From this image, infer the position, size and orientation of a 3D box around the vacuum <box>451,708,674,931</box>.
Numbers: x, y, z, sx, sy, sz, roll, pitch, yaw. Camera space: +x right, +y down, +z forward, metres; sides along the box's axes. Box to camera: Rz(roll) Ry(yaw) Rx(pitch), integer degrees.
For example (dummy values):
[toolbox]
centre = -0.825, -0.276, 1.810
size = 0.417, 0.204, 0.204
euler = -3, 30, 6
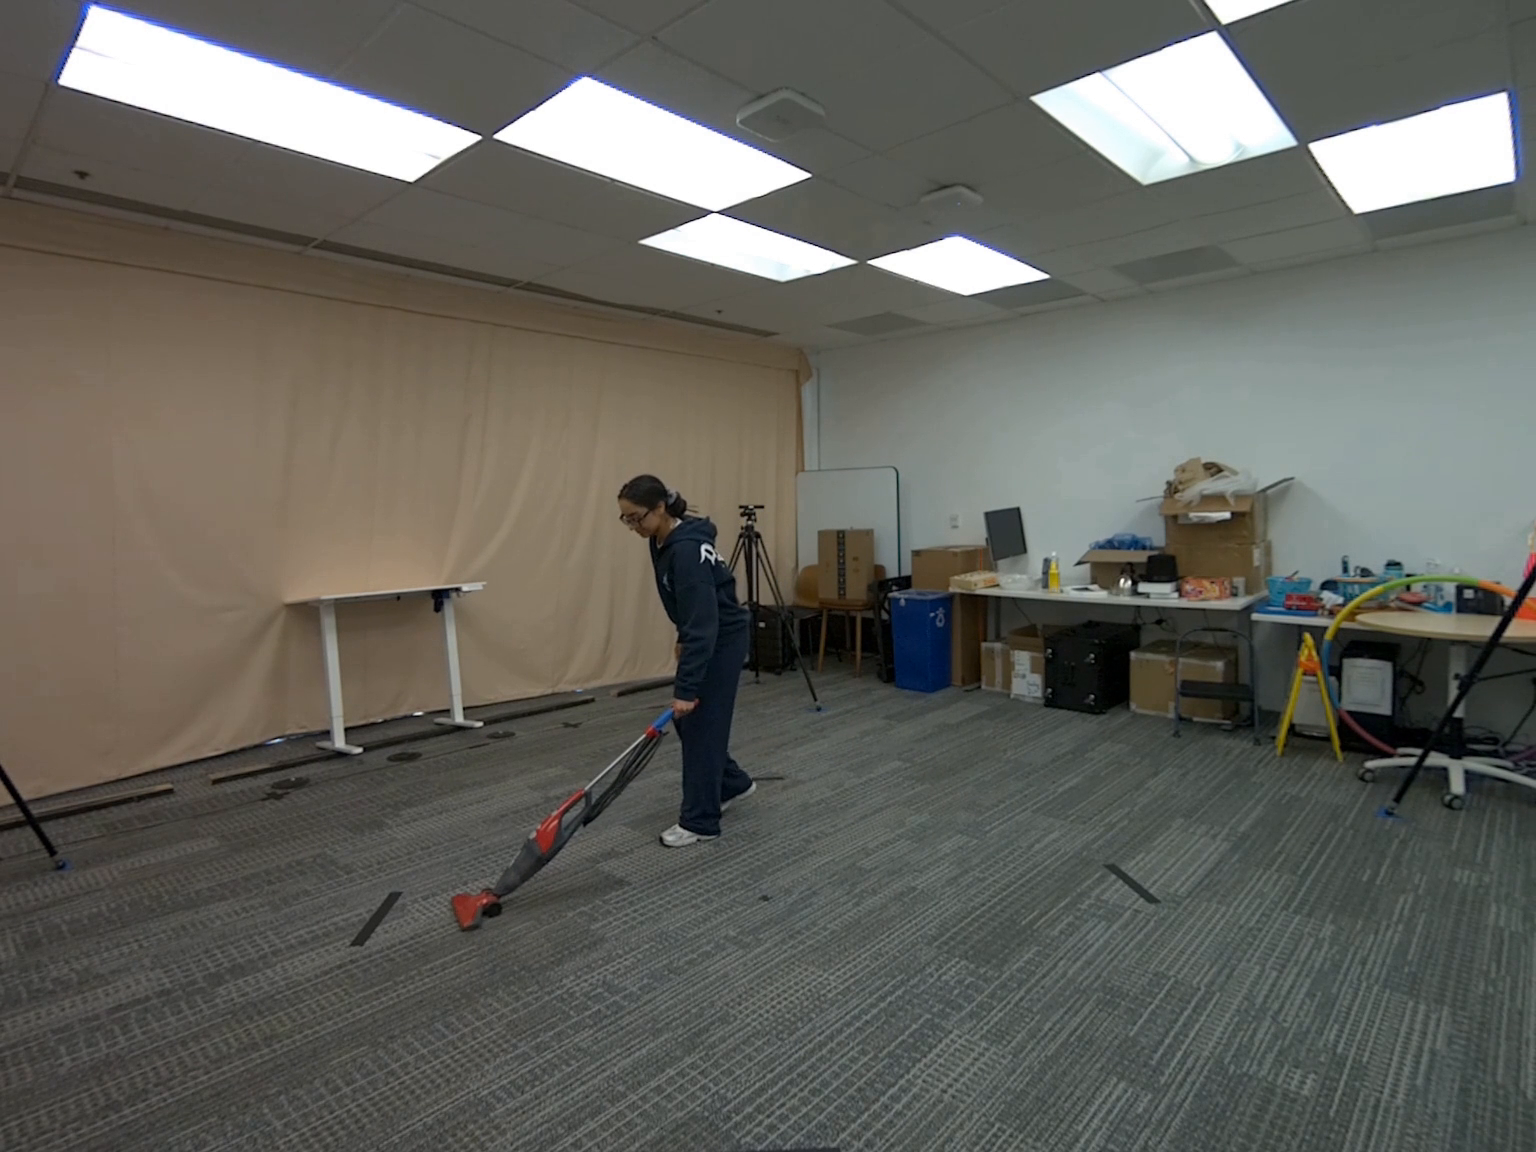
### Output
[vacuum]
centre = -0.652, 0.828, 3.102
size = 1.041, 0.141, 0.260
euler = -42, 25, -20
